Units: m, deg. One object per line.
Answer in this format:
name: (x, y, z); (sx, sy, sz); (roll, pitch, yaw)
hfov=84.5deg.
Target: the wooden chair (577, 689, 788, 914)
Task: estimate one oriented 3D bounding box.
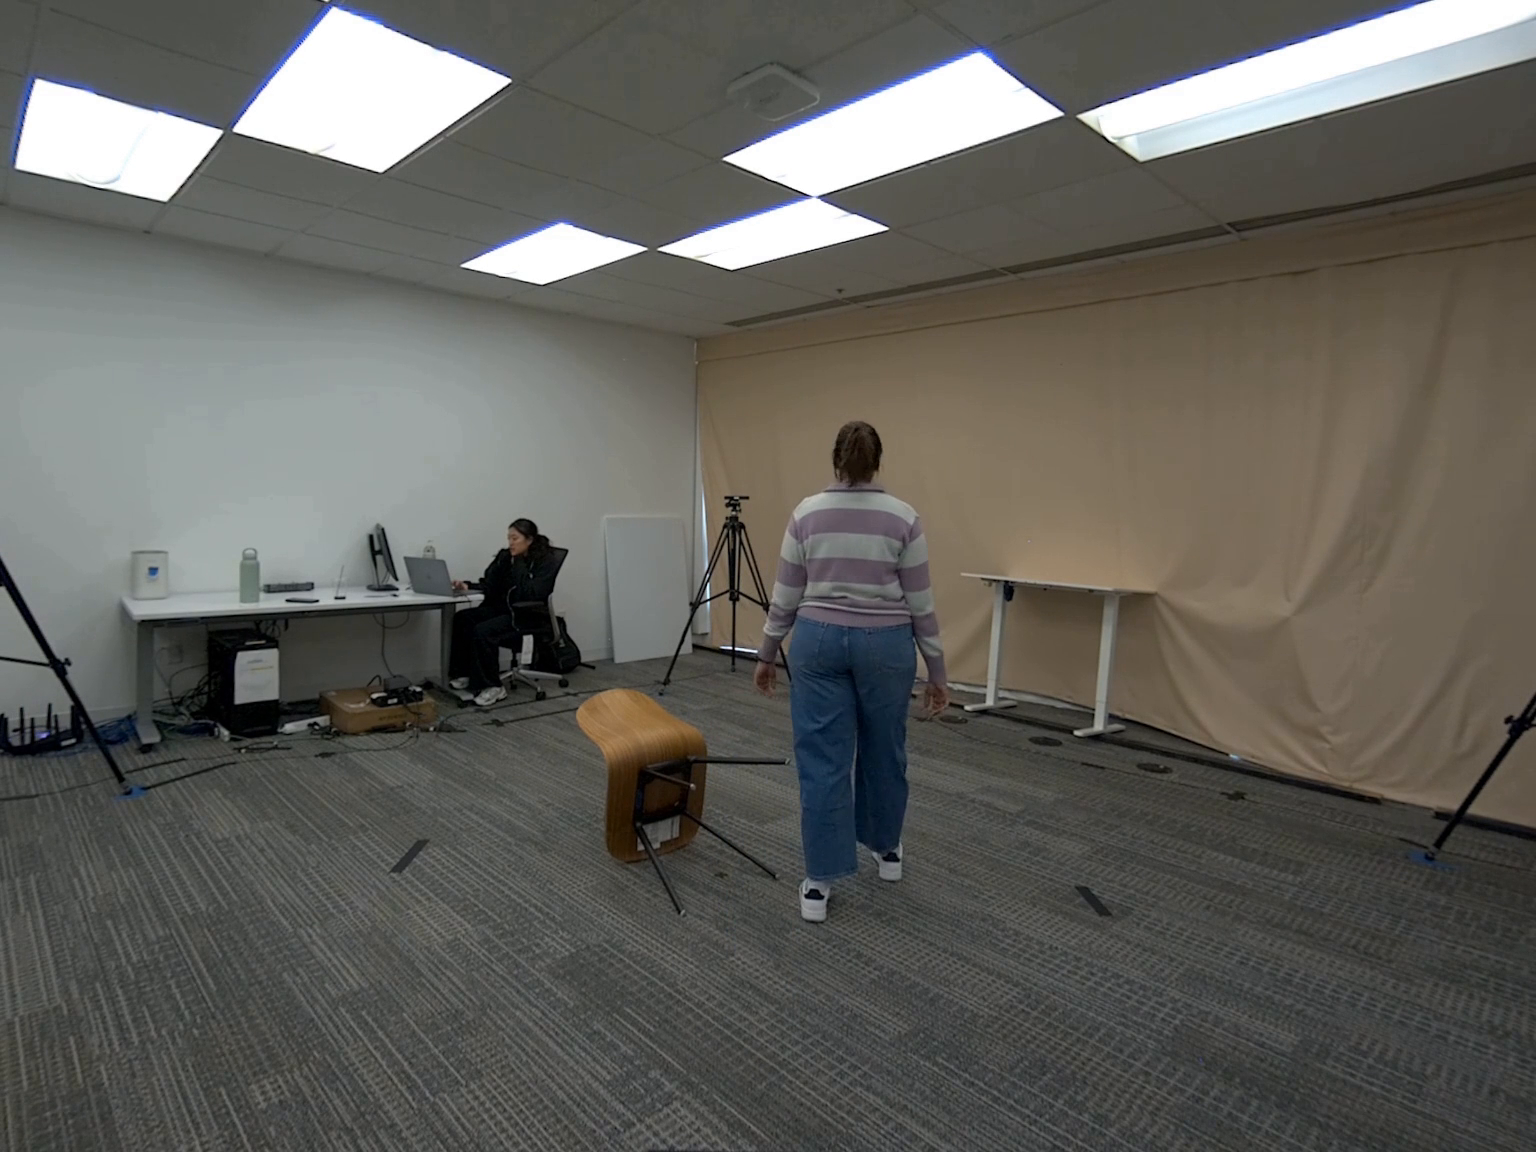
wooden chair: (-0.400, 0.831, 3.231); (0.467, 0.519, 0.903); (-3, 15, -42)
